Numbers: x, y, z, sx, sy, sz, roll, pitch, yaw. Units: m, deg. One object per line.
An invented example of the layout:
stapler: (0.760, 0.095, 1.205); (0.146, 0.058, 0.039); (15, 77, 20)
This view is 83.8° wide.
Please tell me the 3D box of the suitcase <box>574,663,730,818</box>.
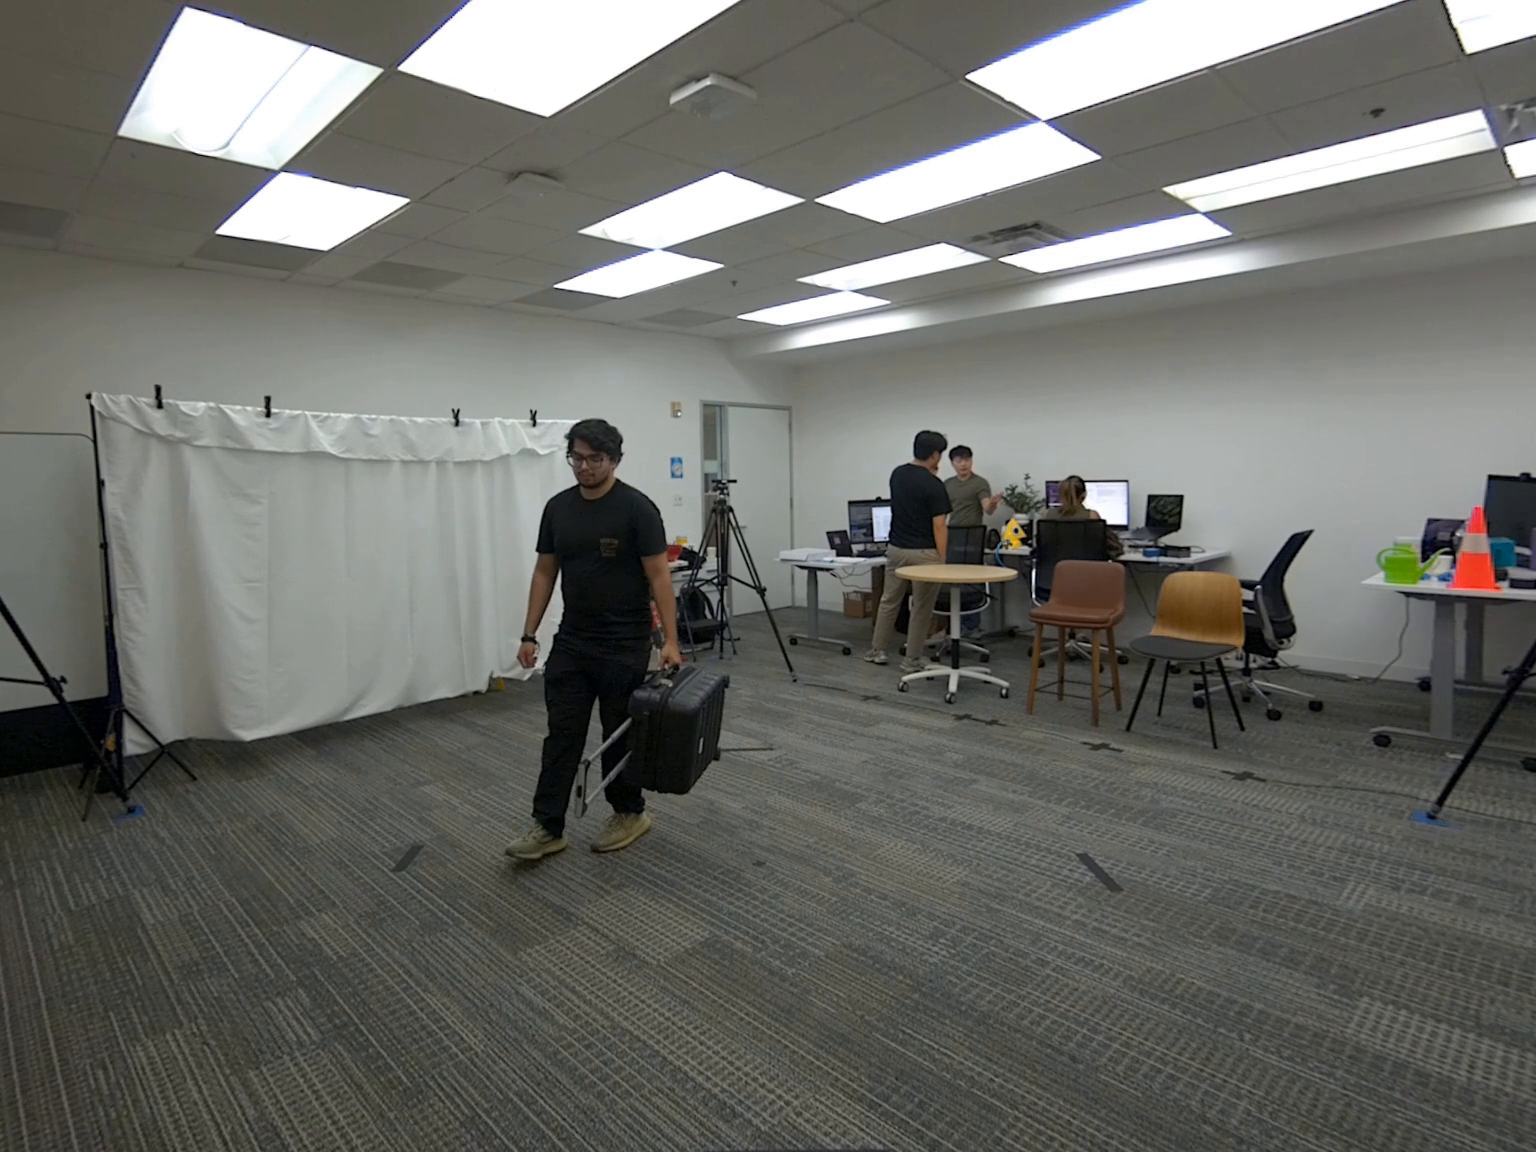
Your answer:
suitcase: (-0.360, 0.561, 2.917); (0.259, 0.382, 0.974); (6, 6, 7)
